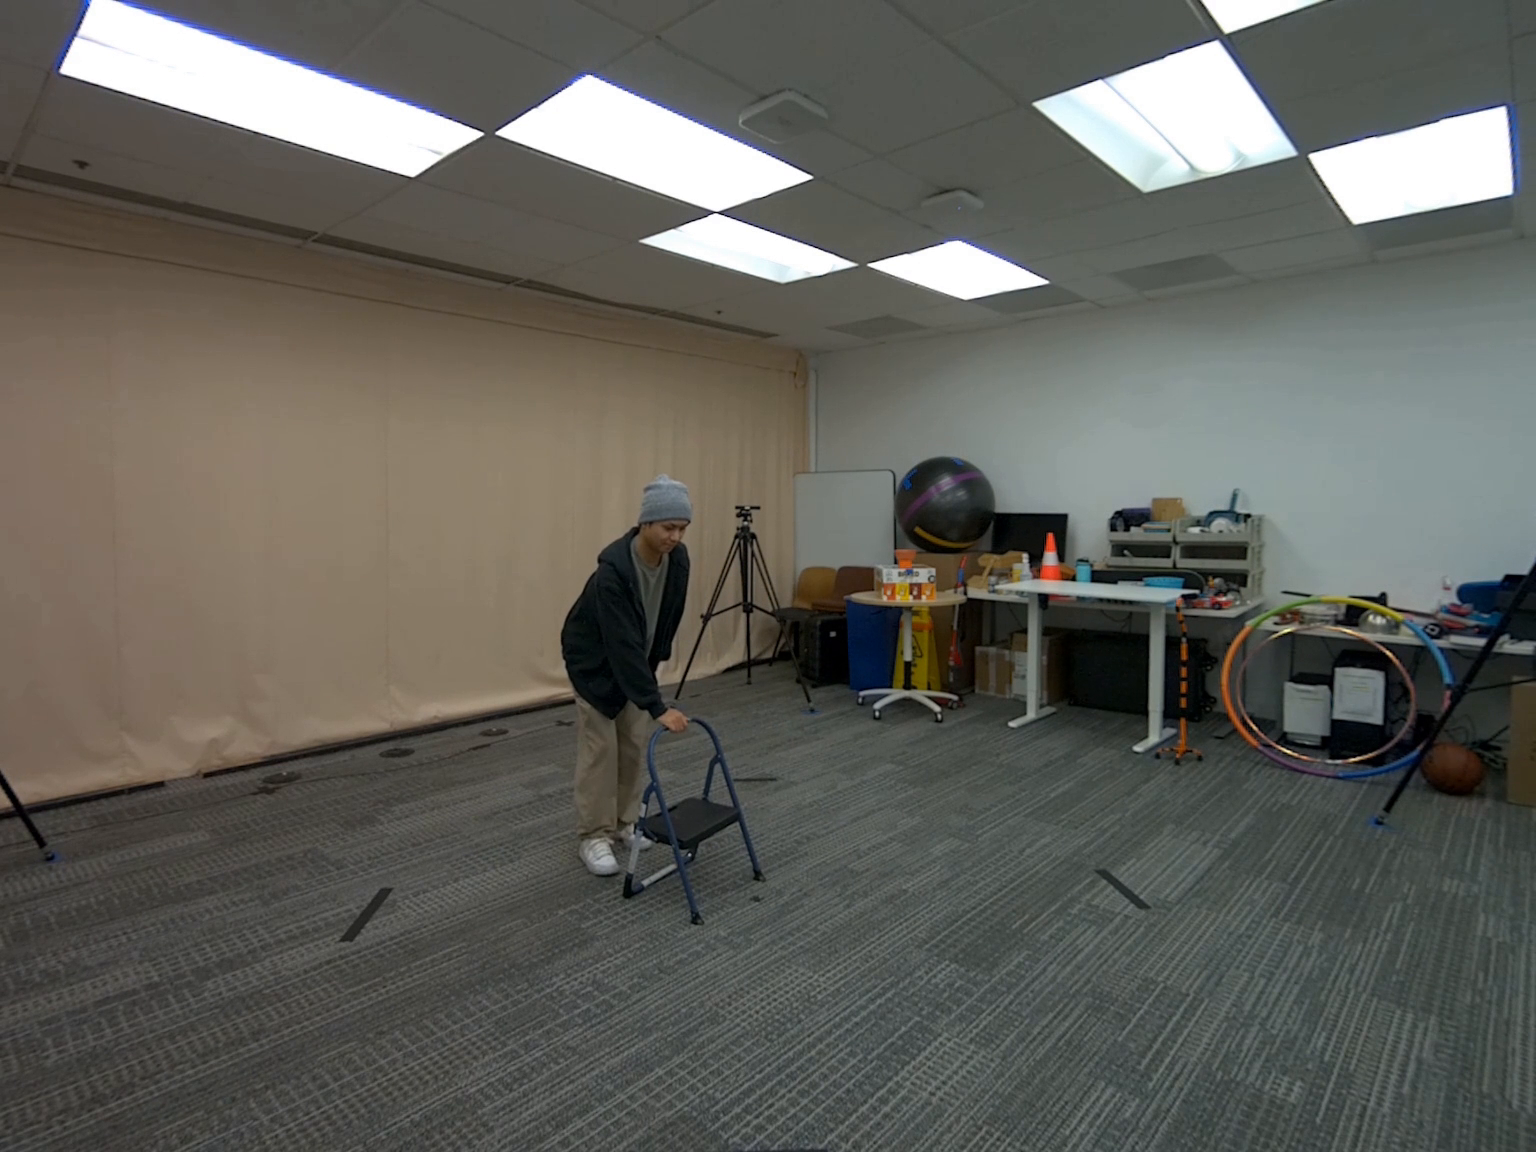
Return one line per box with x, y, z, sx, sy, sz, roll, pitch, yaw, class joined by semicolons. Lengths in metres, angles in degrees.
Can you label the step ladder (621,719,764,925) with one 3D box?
-0.266;0.836;3.052;0.360;0.605;0.418;2;4;33;step ladder
